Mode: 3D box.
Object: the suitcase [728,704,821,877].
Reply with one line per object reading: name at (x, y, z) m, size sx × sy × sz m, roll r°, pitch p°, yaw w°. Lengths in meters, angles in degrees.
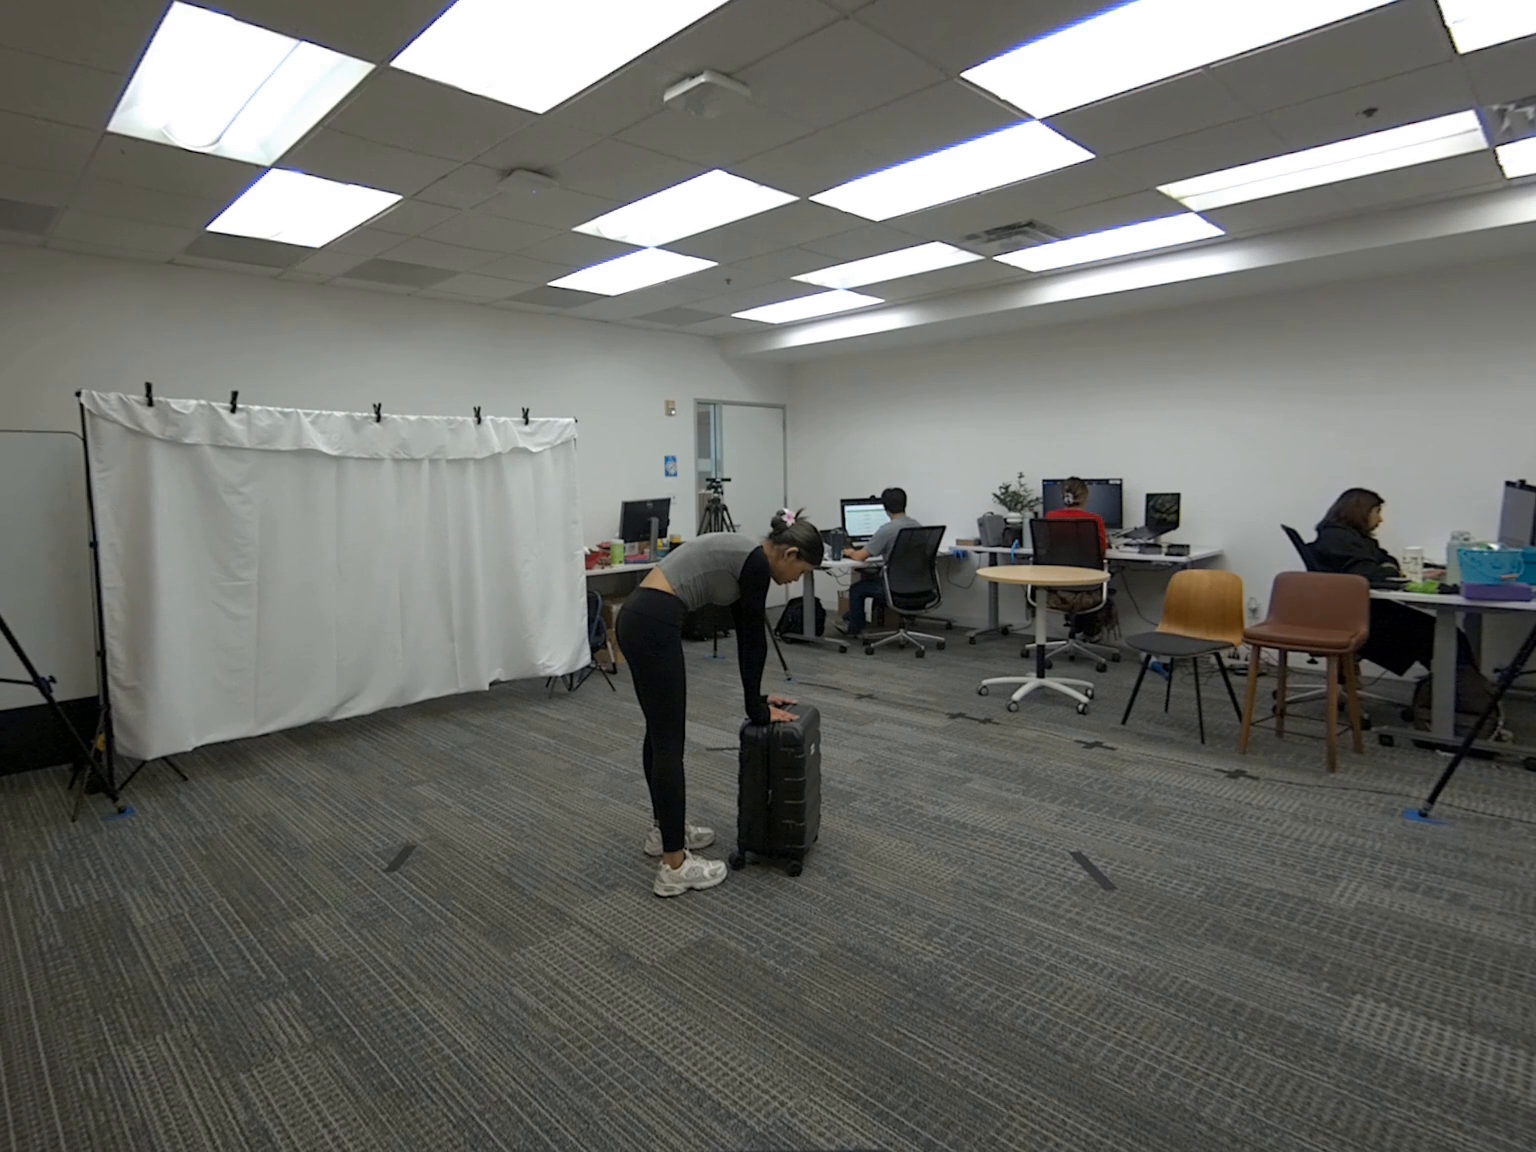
suitcase at (0.044, 0.759, 3.169) m, size 0.252 × 0.547 × 0.370 m, roll 2°, pitch 5°, yaw 16°
